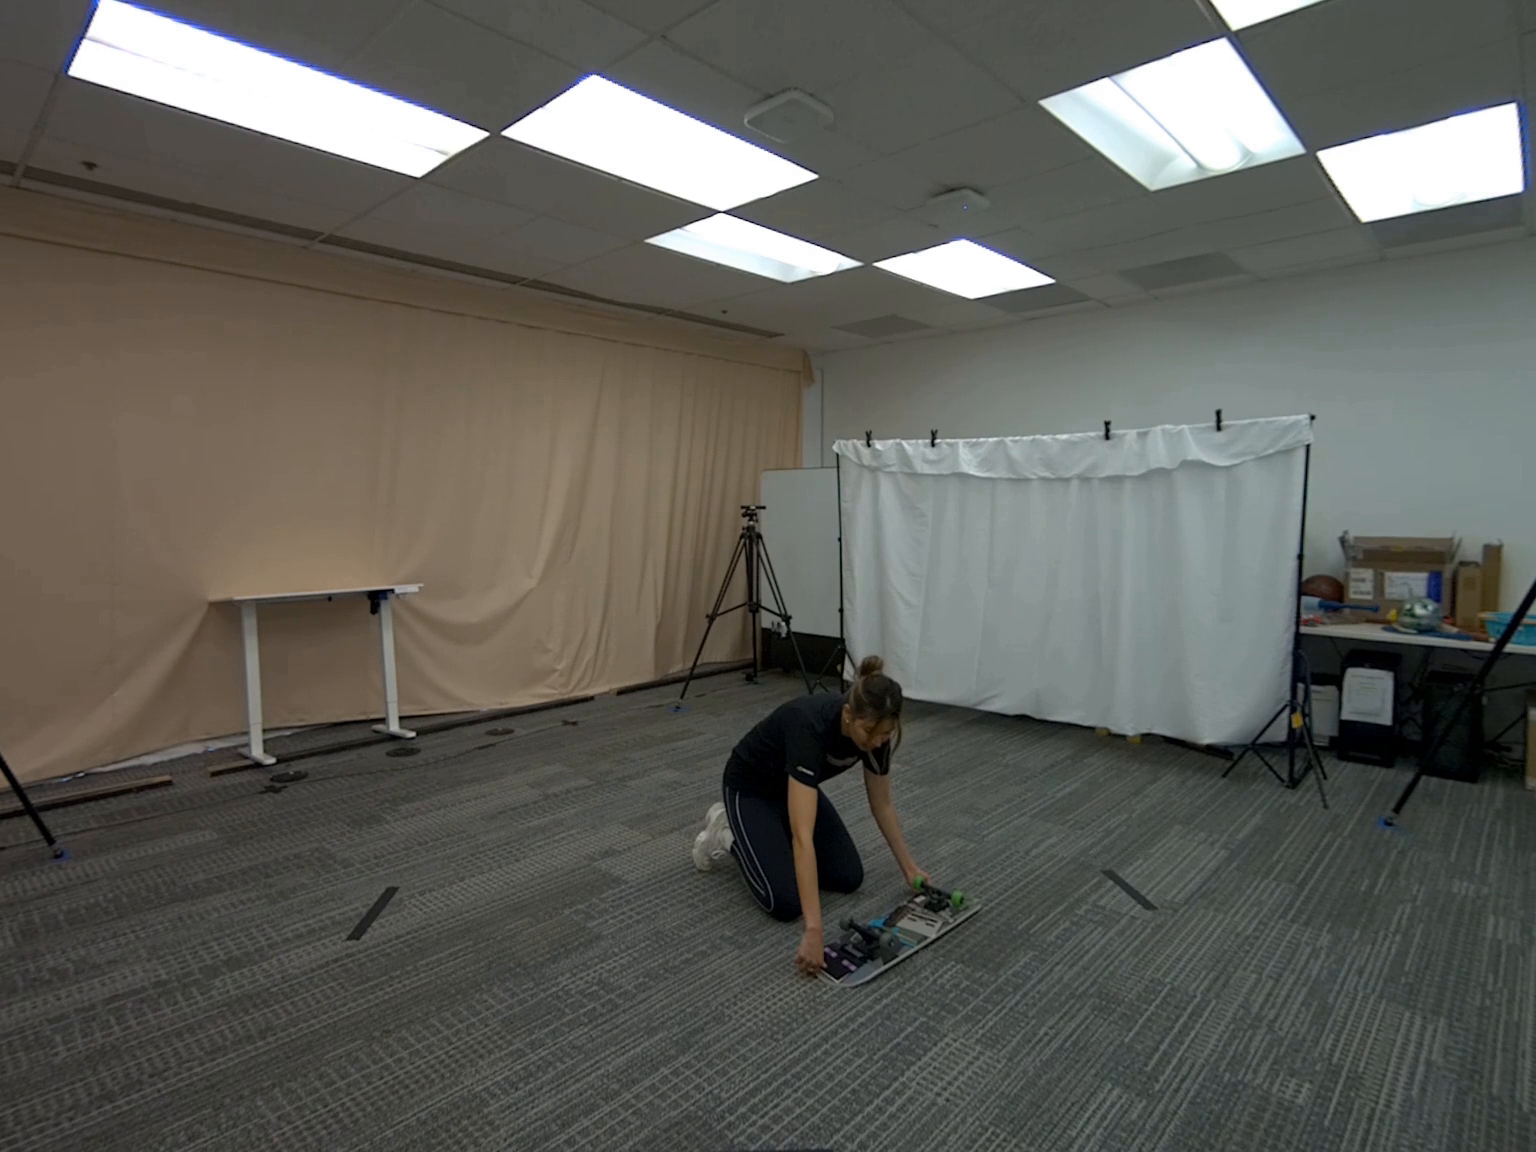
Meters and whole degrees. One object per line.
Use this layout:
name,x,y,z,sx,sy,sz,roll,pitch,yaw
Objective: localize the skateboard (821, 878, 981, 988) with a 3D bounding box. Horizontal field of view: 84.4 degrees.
skateboard,0.442,1.107,2.719,0.762,0.110,0.200,-6,10,-45
